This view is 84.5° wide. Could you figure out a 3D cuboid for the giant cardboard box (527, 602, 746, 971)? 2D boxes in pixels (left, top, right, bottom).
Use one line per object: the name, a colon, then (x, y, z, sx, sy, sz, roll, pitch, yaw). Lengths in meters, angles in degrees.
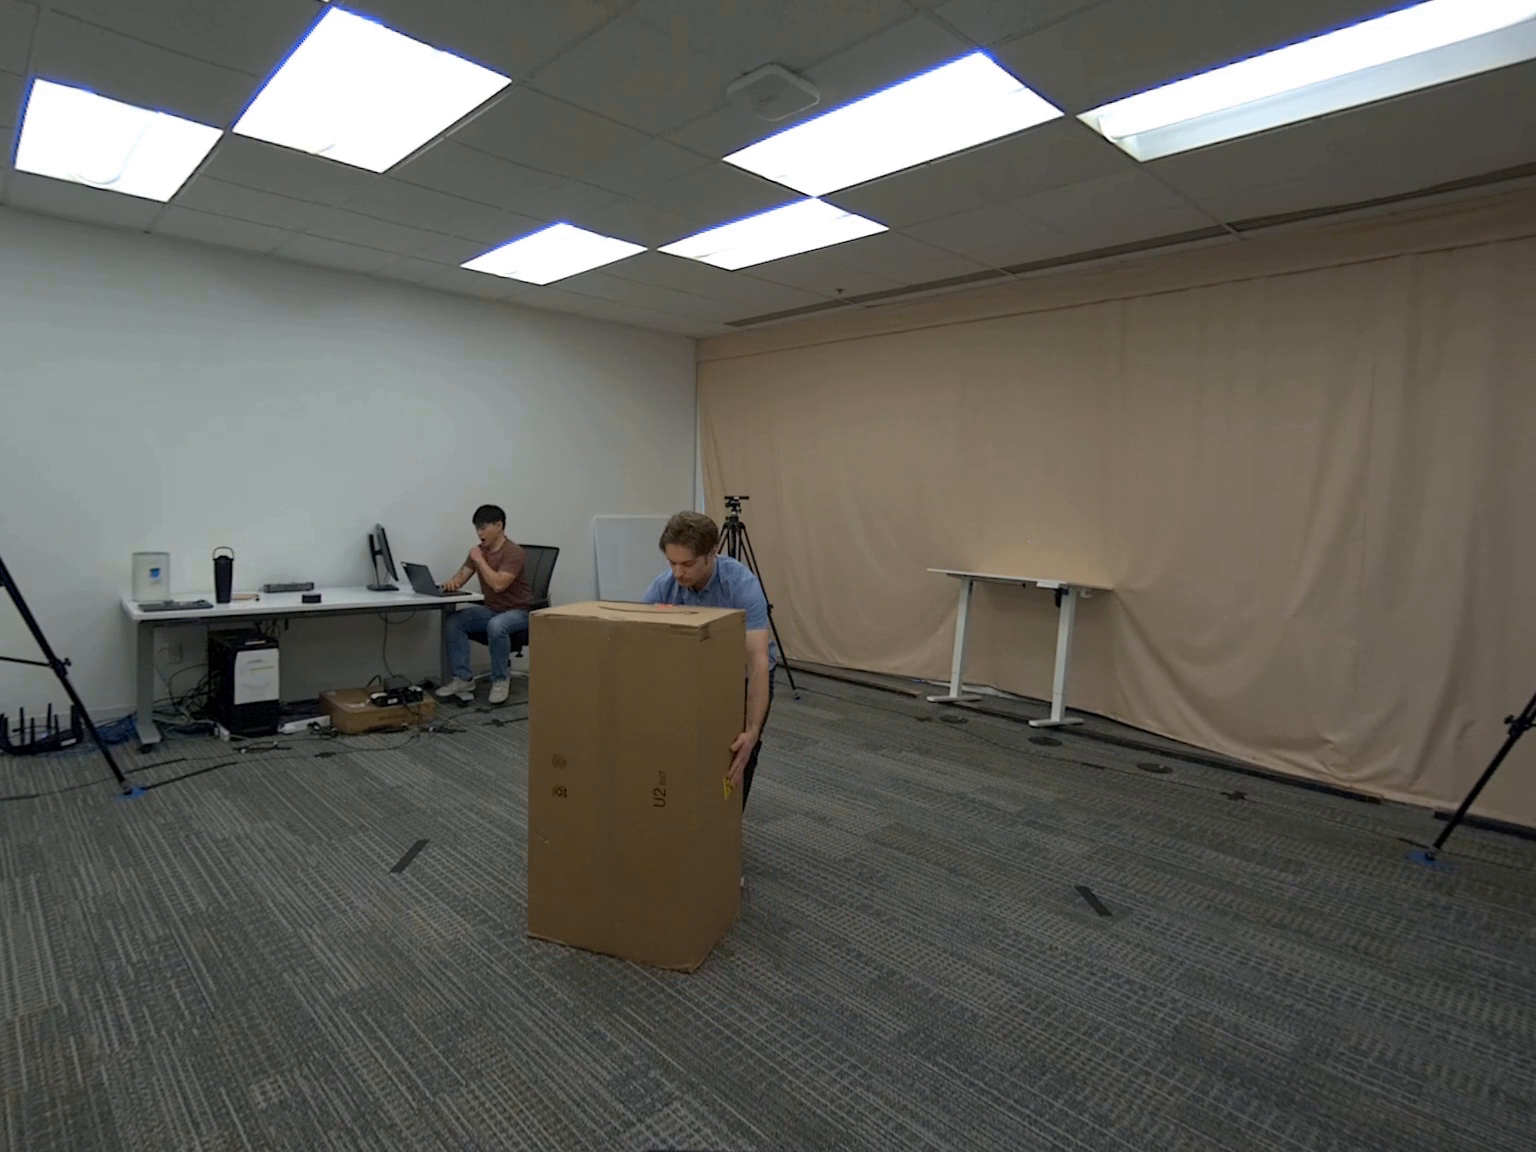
giant cardboard box: (-0.421, 0.622, 2.717, 0.586, 1.024, 0.420, 2, 3, 19)
